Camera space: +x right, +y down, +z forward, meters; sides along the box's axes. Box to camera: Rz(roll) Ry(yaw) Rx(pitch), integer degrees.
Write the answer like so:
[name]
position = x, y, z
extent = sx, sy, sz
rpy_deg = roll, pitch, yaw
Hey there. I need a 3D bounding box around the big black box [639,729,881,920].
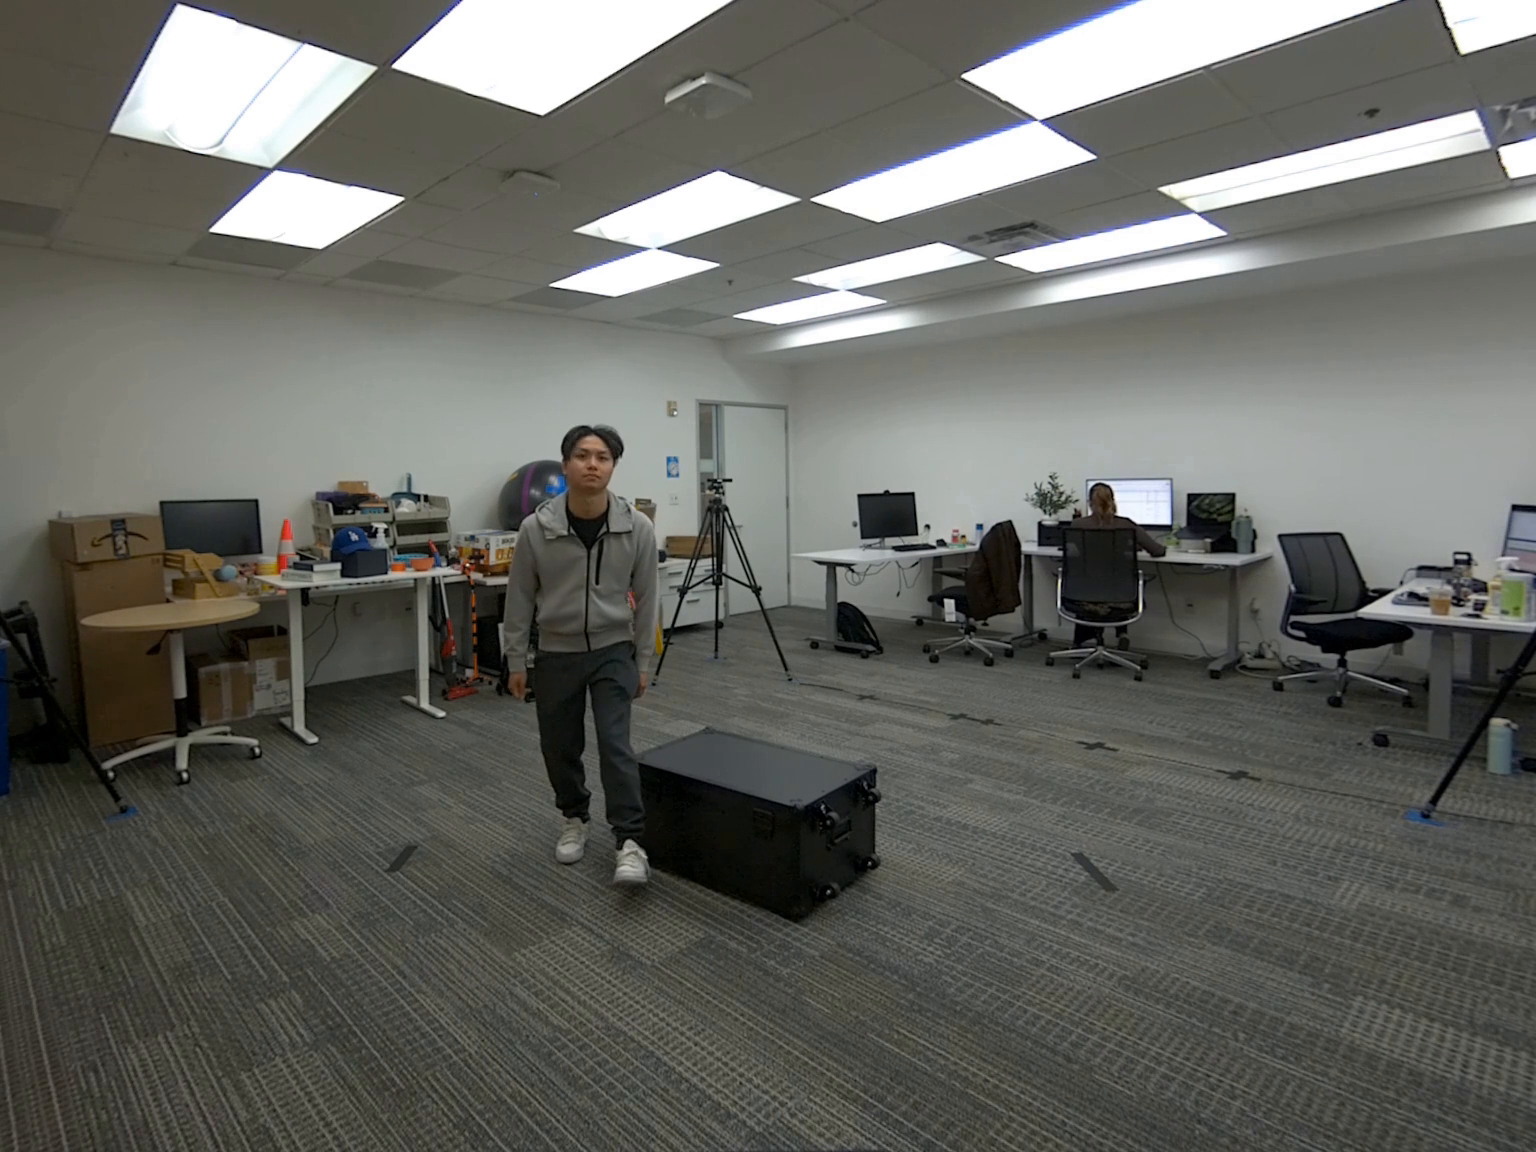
[big black box]
position = -0.089, 0.853, 3.112
extent = 0.888, 0.394, 0.508
rpy_deg = 5, 7, 39
